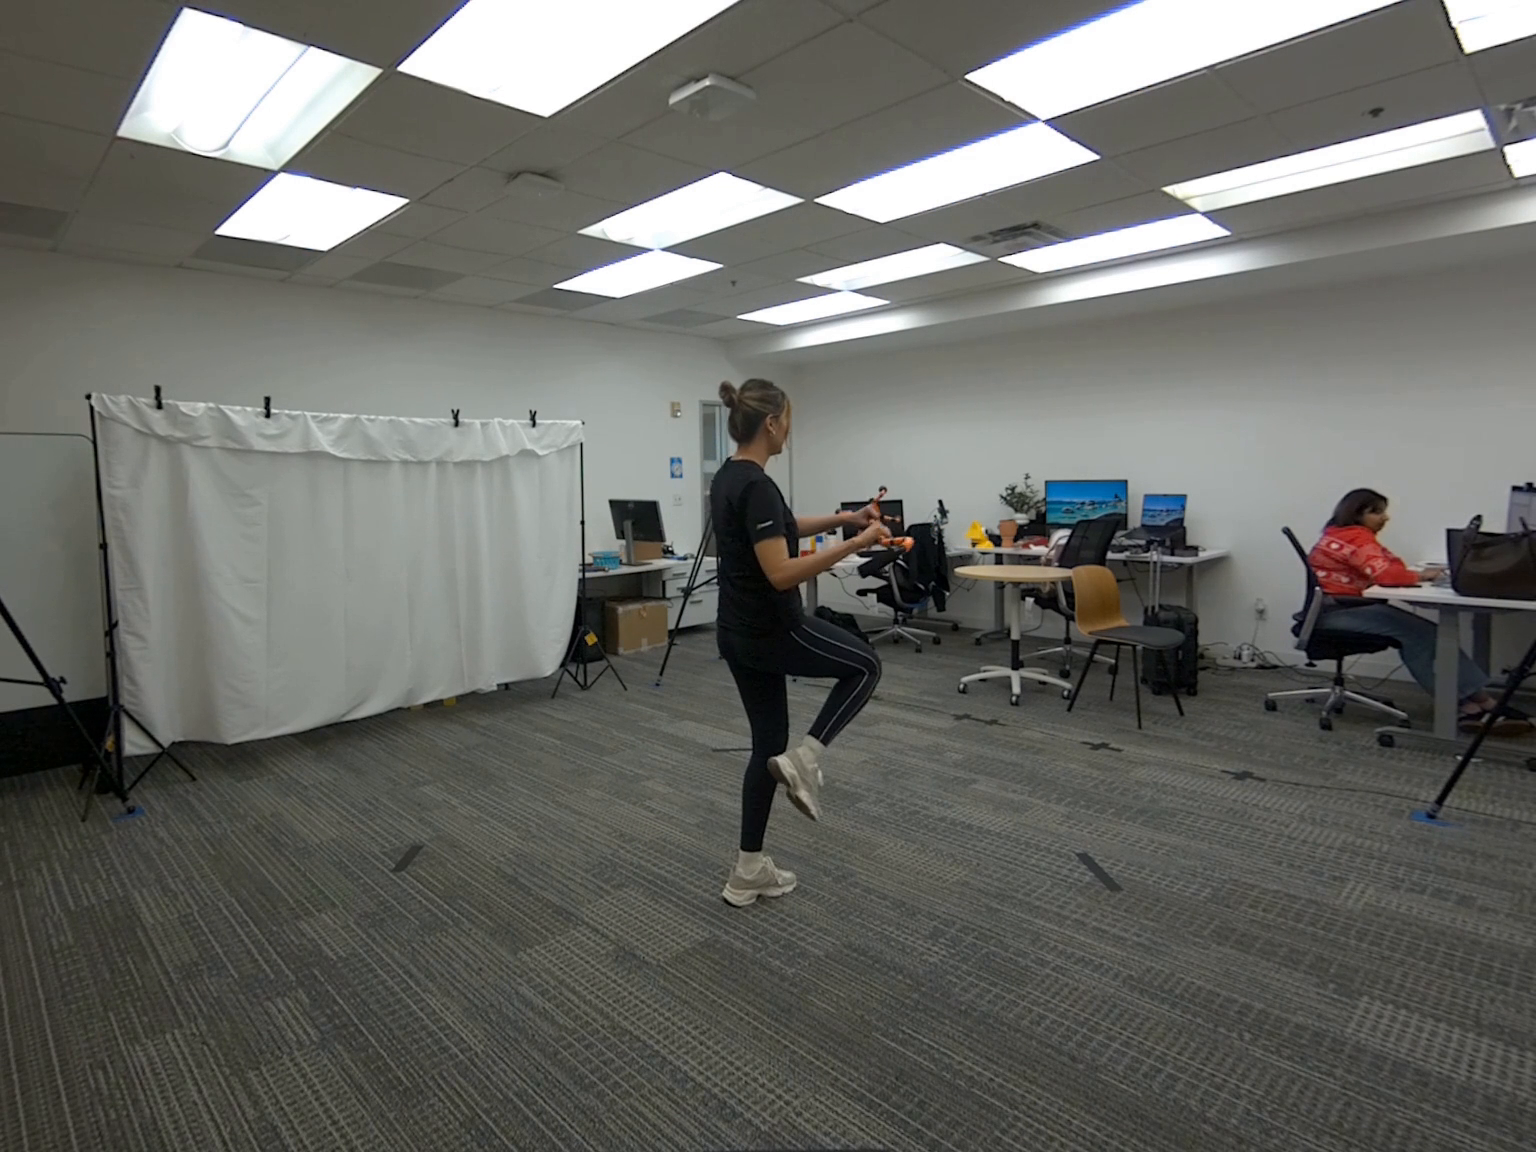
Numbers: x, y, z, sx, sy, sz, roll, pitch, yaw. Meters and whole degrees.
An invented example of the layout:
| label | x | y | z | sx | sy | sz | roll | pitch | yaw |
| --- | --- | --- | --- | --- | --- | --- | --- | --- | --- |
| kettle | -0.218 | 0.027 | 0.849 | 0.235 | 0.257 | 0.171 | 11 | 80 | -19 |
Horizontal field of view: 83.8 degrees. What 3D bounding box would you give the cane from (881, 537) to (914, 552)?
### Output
| label | x | y | z | sx | sy | sz | roll | pitch | yaw |
| --- | --- | --- | --- | --- | --- | --- | --- | --- | --- |
| cane | 0.360 | -0.120 | 2.656 | 0.207 | 0.150 | 0.911 | -27 | 8 | 8 |
